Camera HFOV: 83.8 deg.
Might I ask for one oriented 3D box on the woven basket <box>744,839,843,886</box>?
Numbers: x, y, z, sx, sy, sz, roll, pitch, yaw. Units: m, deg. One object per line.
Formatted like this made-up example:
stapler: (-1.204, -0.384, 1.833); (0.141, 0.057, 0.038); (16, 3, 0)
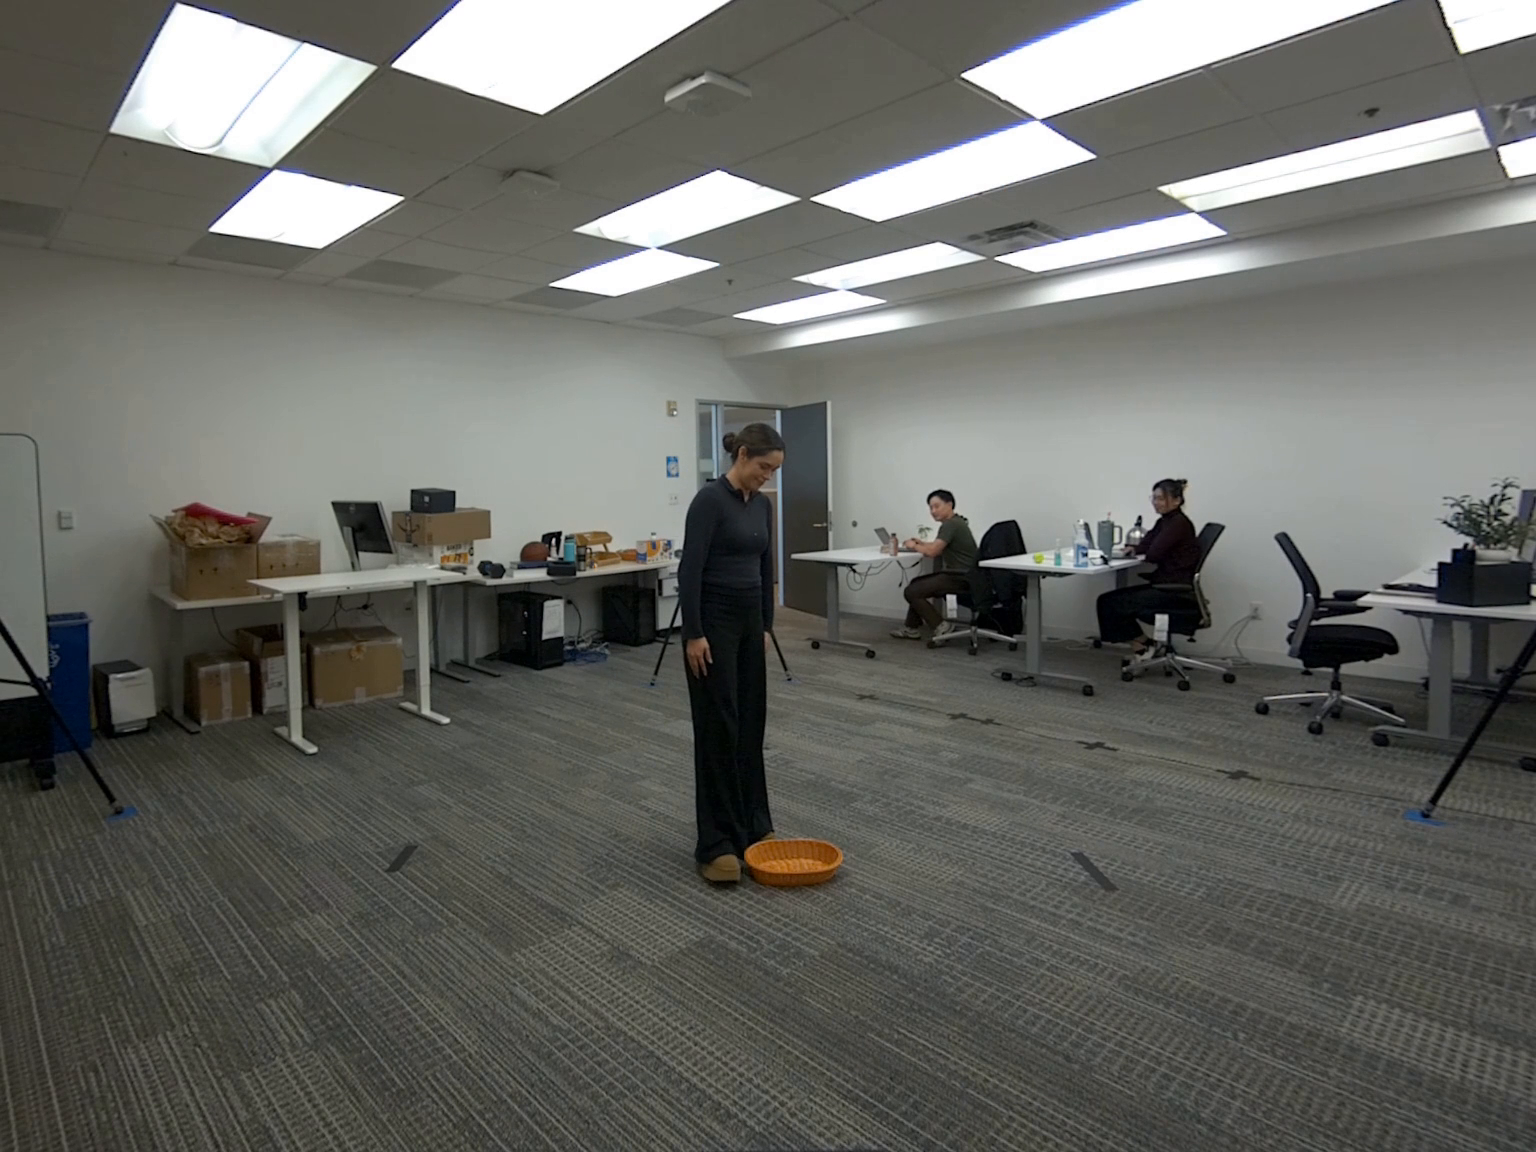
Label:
woven basket: (0.095, 1.010, 3.001); (0.349, 0.073, 0.255); (-1, 8, -5)
